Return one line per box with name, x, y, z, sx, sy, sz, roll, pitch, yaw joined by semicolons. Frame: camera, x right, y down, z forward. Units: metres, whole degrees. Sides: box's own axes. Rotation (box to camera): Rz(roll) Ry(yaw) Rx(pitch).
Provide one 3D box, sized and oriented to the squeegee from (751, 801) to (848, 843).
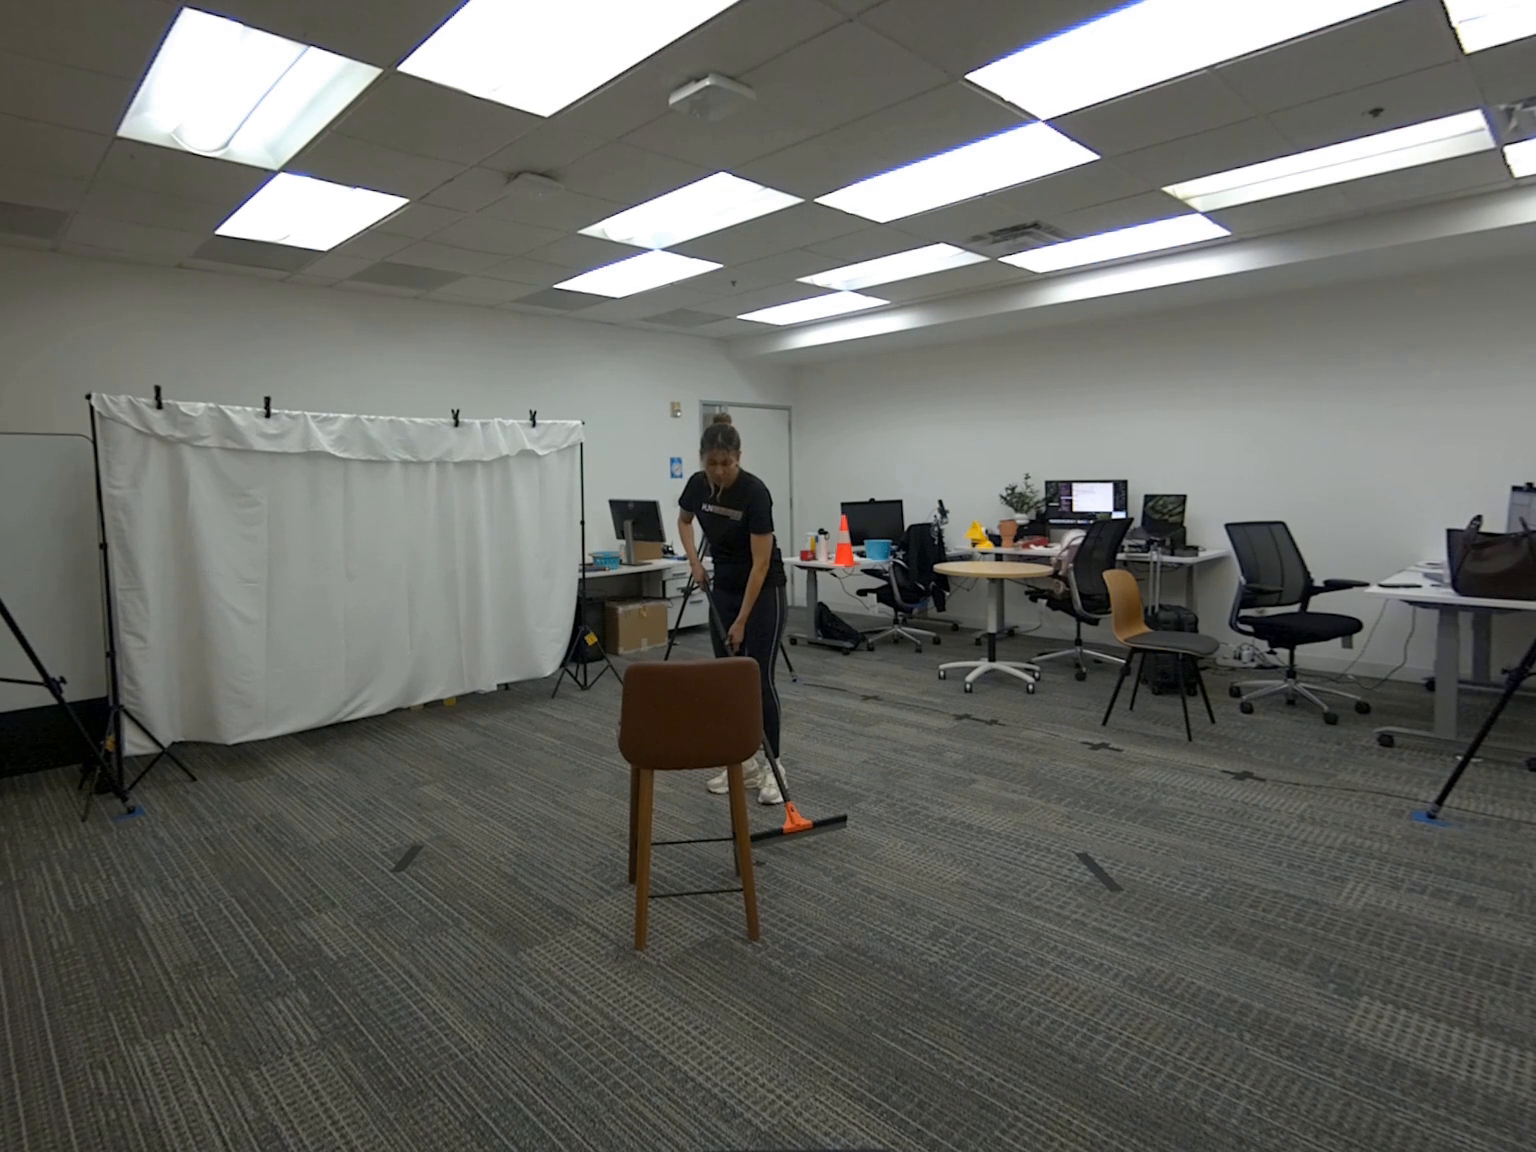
squeegee;-0.169;0.371;3.620;0.429;1.592;0.052;-9;-38;-24
